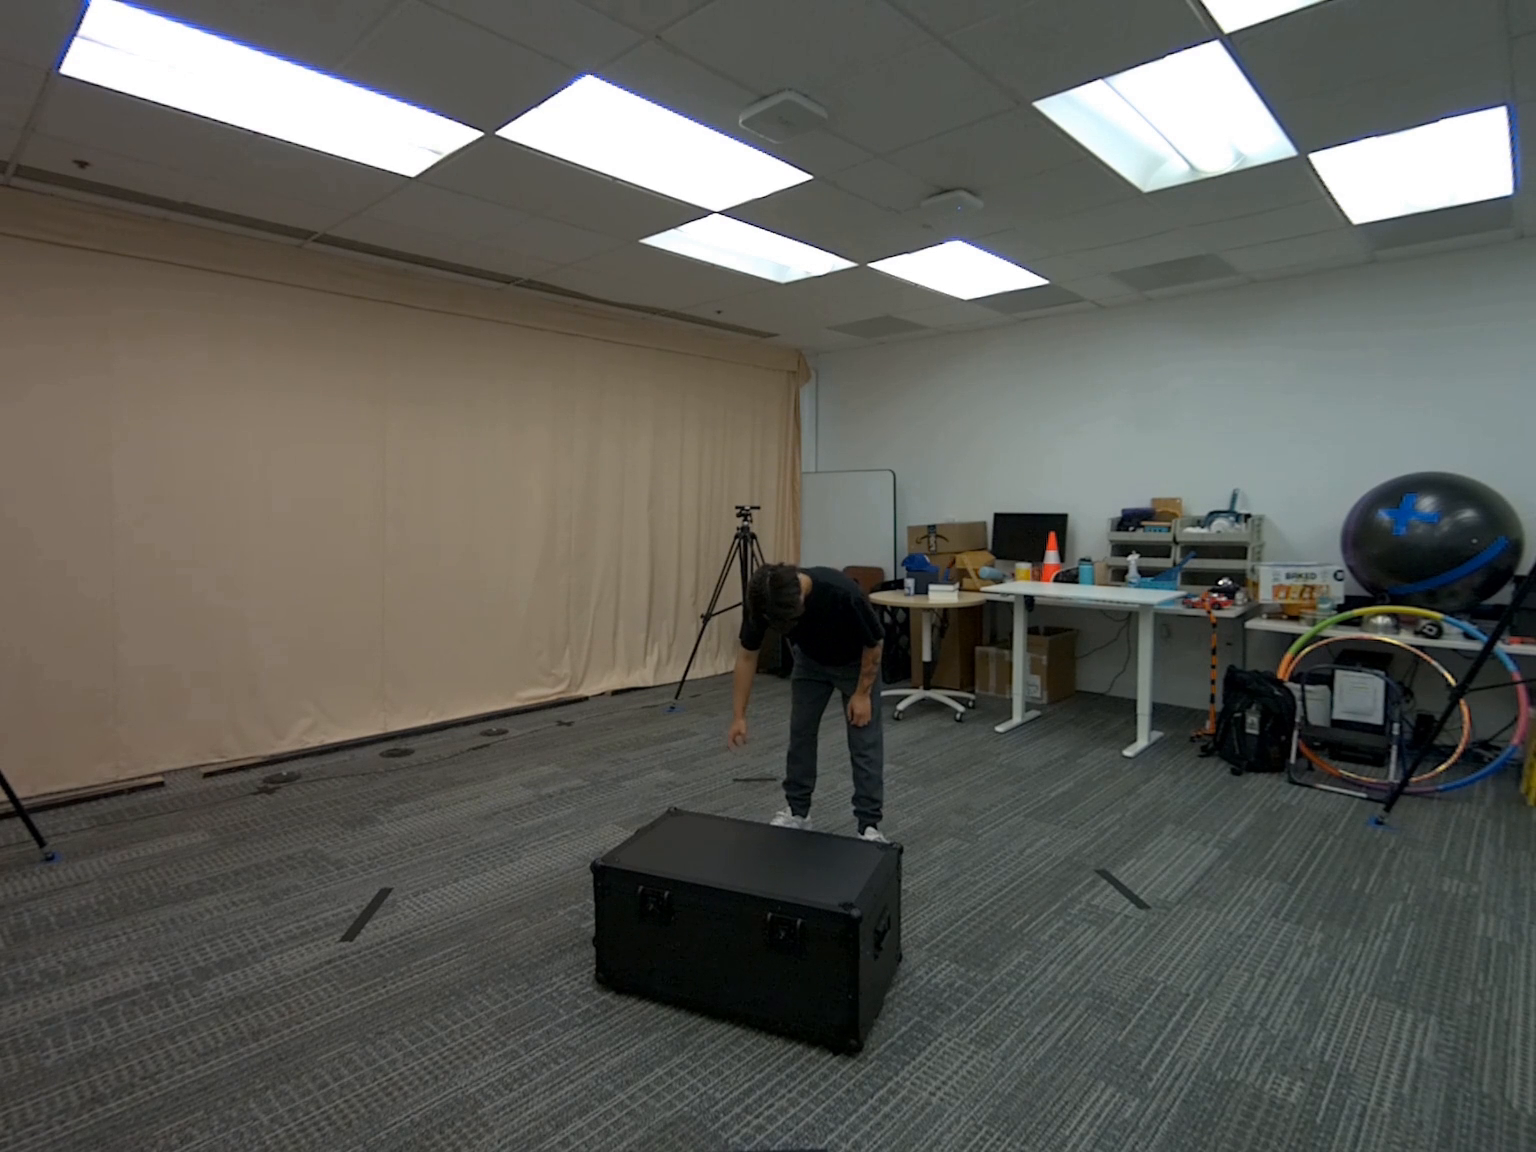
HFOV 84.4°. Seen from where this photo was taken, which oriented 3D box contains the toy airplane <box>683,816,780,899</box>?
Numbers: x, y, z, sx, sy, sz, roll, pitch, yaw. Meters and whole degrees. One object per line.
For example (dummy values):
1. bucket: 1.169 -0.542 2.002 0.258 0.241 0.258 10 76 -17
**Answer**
1. toy airplane: -0.140 1.051 3.192 0.268 0.156 0.243 5 7 44
